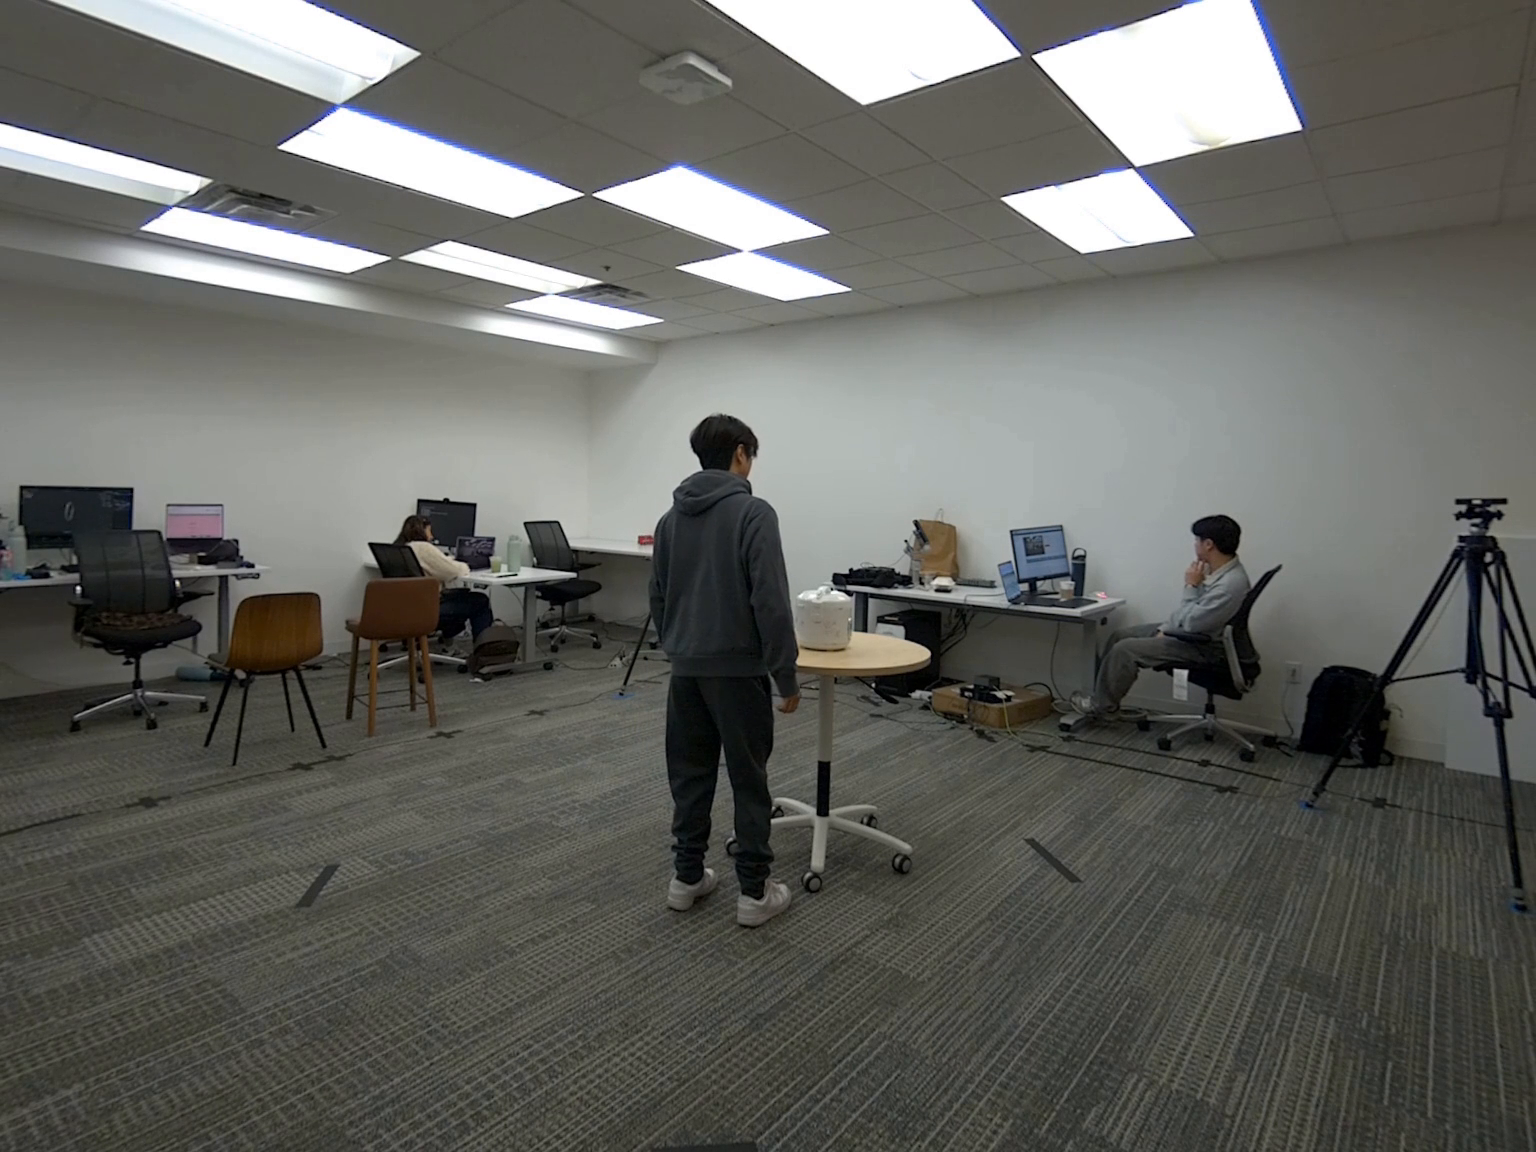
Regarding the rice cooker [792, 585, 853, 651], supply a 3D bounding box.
[{"bbox_3d":[0.204,0.151,3.241,0.222,0.232,0.217,2,5,20],"label":"rice cooker"}]
